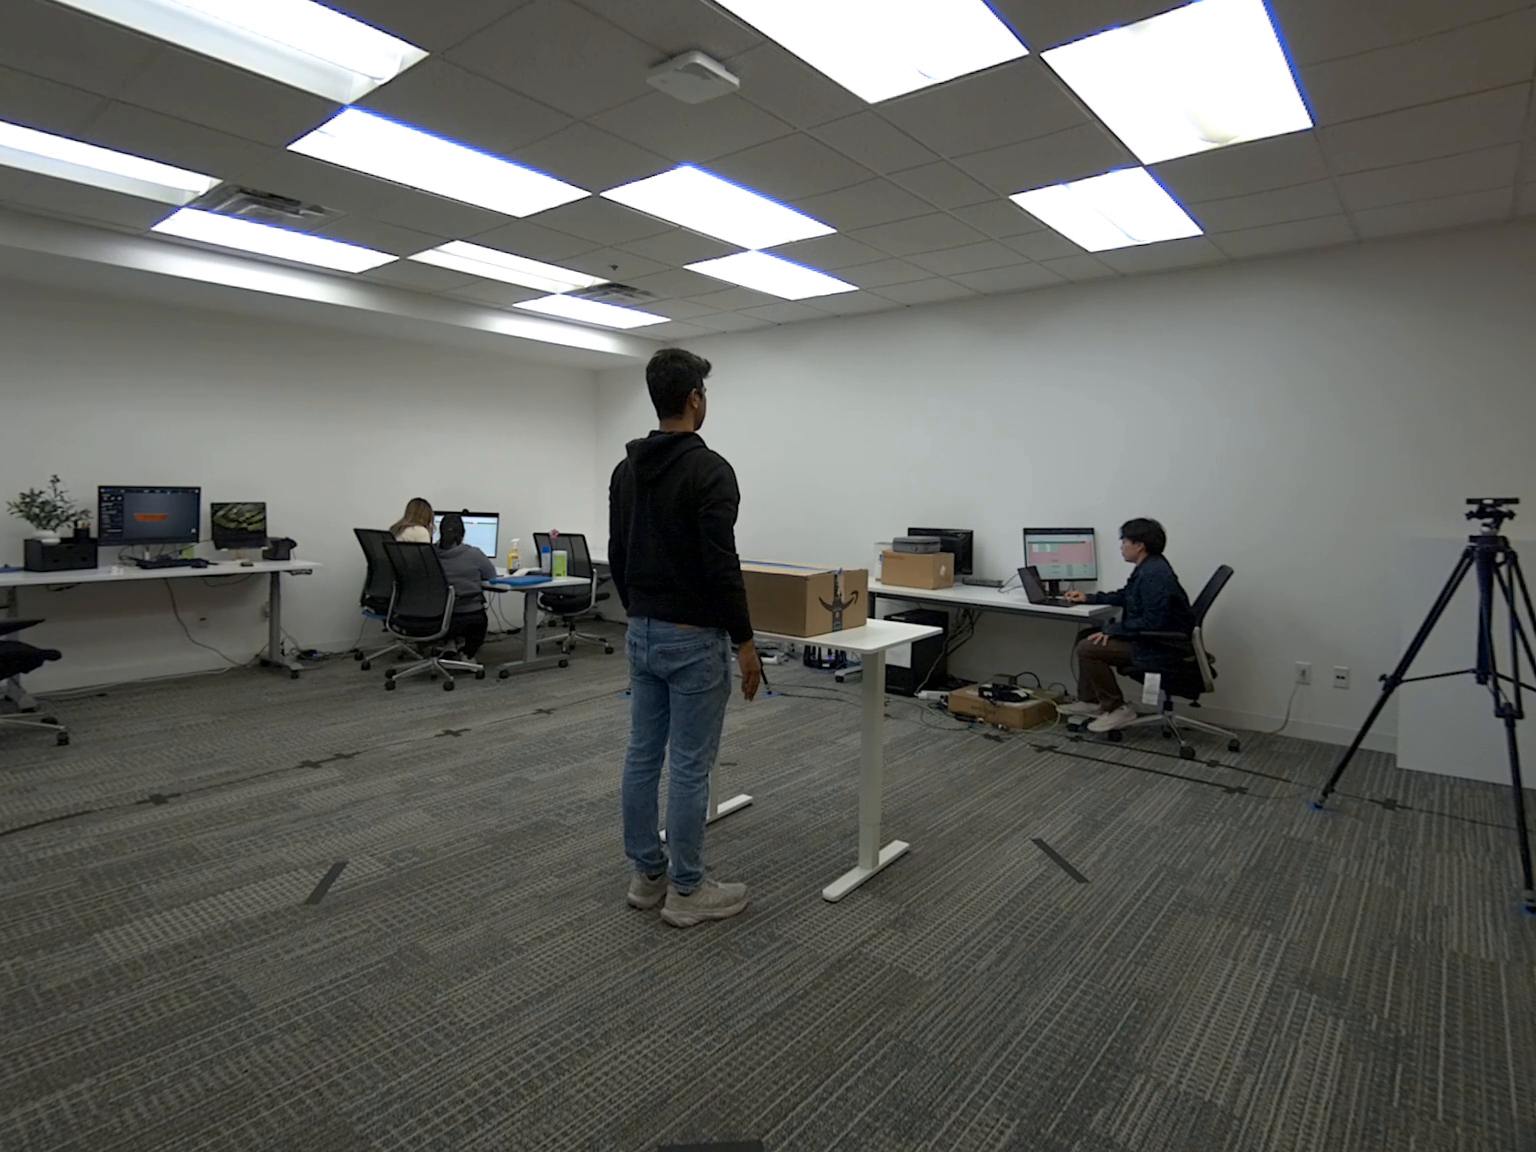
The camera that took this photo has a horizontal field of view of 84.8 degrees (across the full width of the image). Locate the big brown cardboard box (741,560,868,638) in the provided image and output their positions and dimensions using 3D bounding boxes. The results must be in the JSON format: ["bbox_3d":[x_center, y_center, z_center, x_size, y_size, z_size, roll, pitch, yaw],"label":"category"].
[{"bbox_3d":[0.013,0.063,3.249,0.609,0.232,0.405,7,7,38],"label":"big brown cardboard box"}]
